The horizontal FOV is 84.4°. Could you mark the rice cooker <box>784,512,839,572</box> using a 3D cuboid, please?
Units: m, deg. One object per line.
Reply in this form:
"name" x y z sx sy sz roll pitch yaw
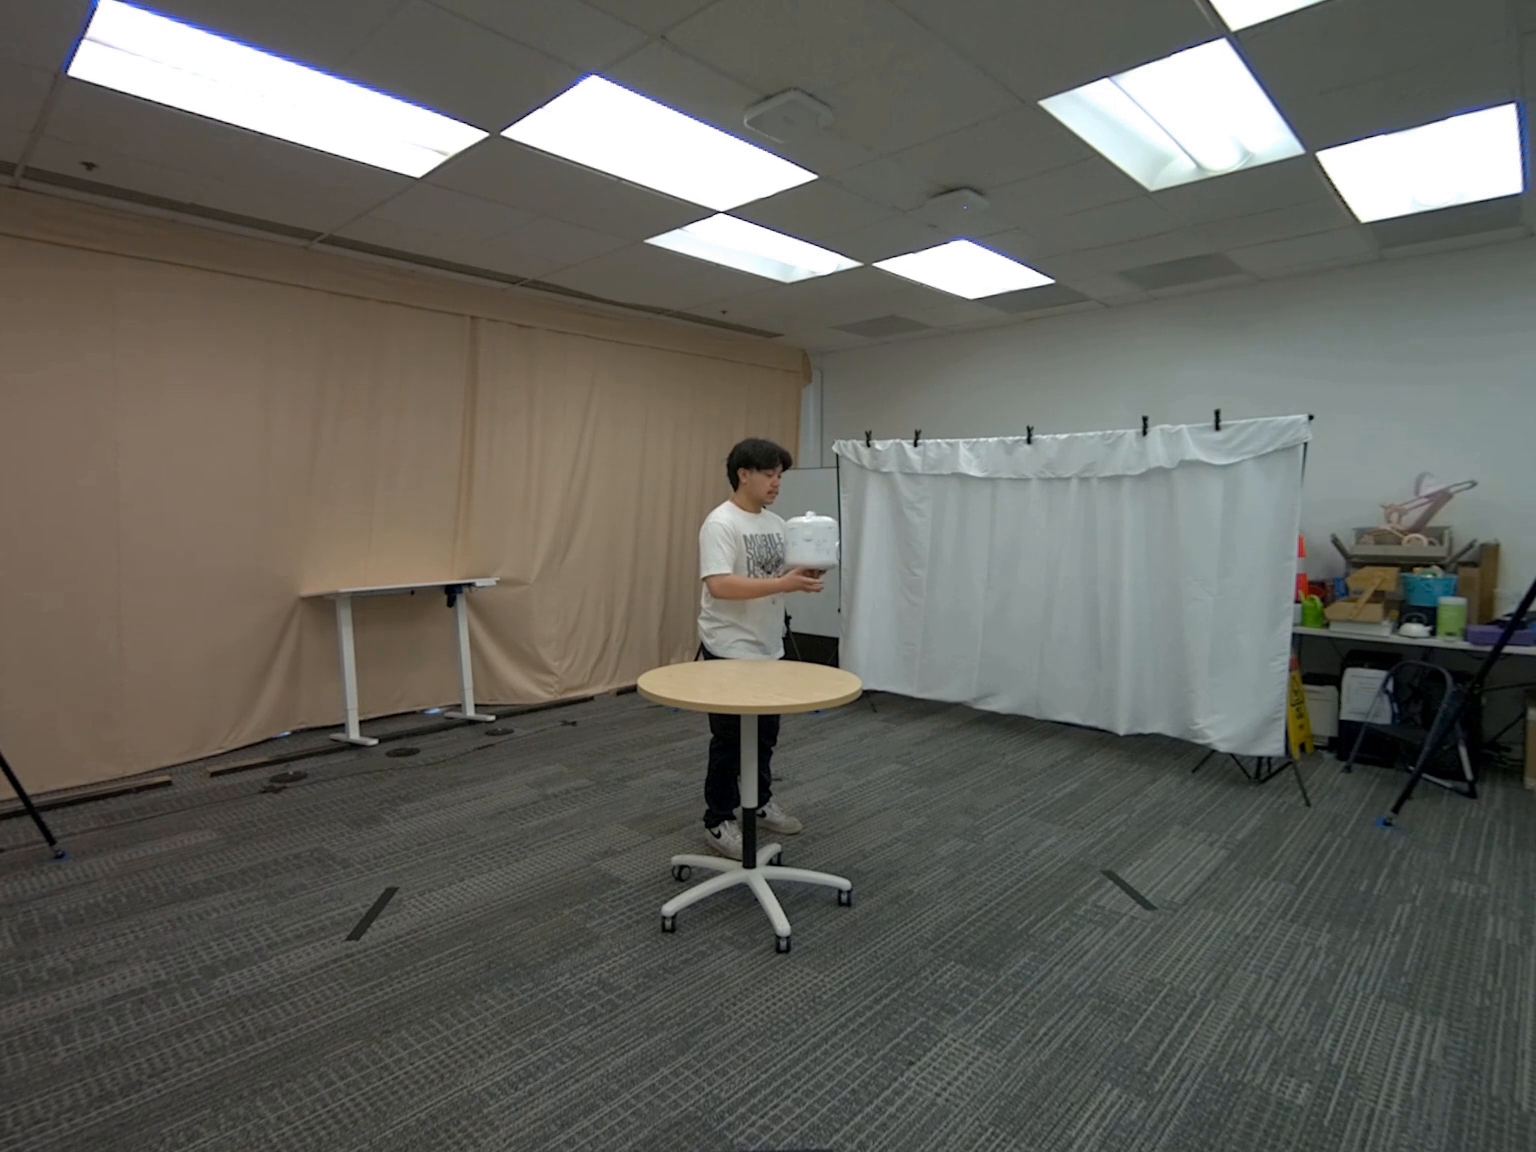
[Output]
"rice cooker" 0.176 -0.136 3.321 0.220 0.233 0.217 -2 -3 13
